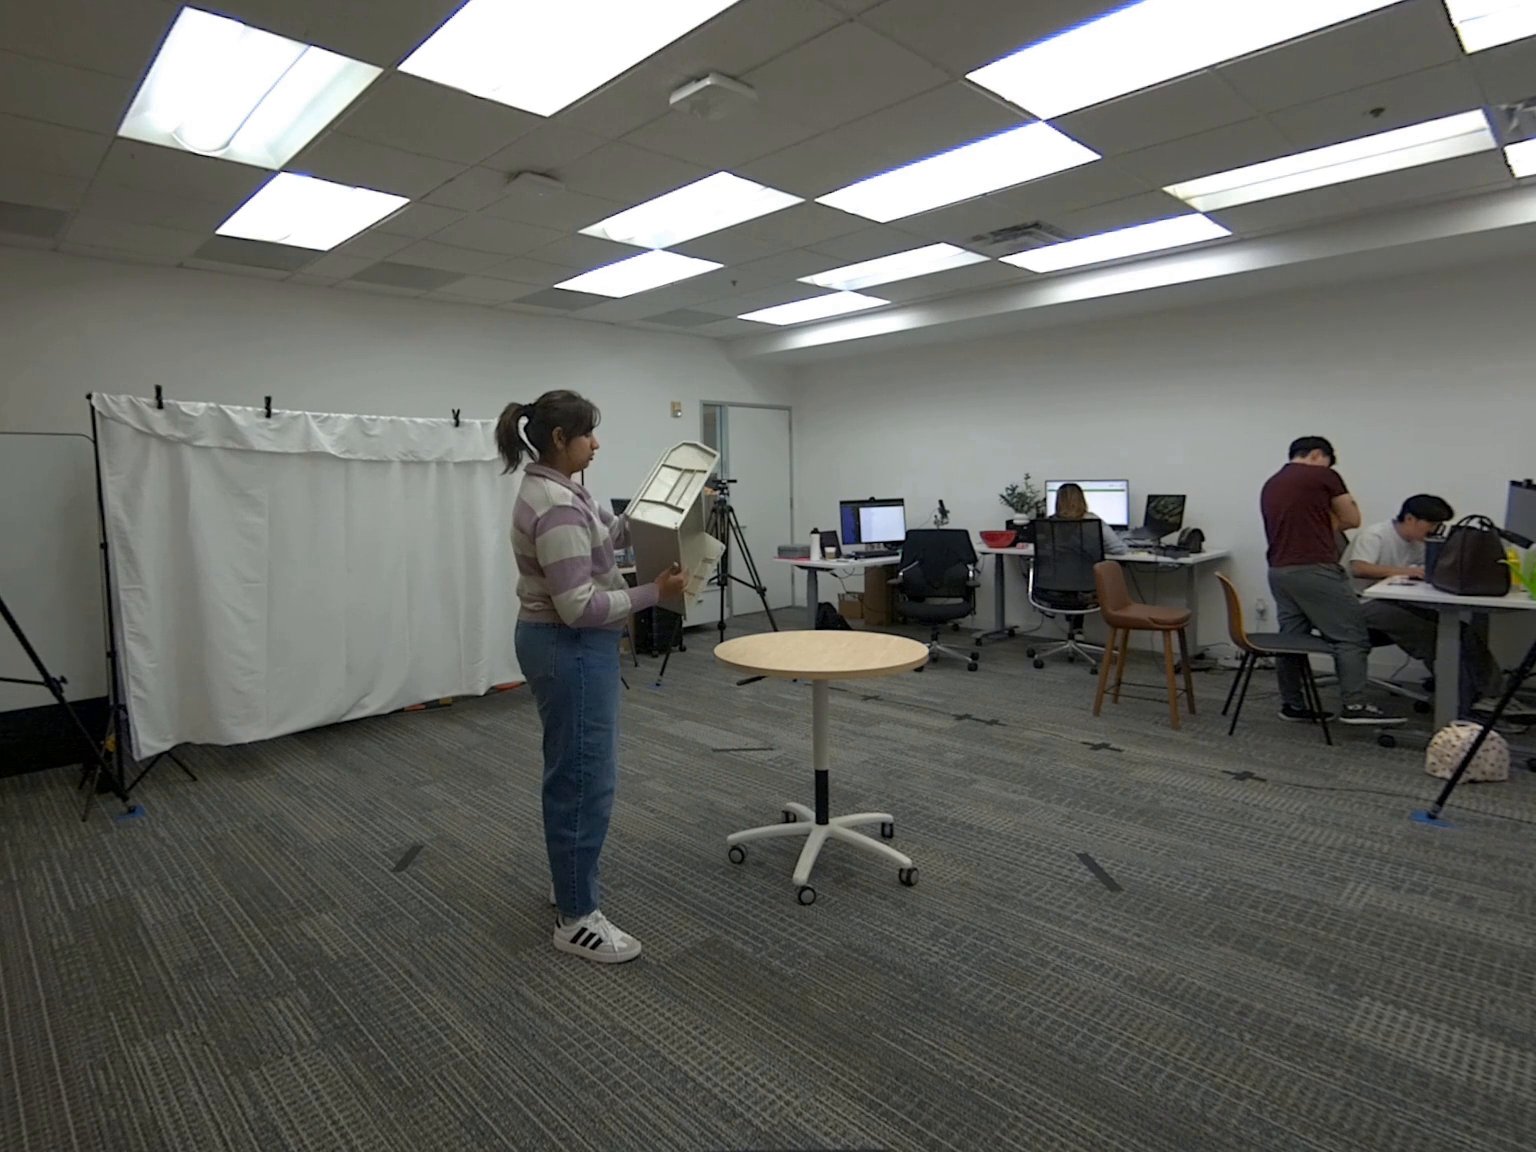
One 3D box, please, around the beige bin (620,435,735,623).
[{"bbox_3d":[-0.274,-0.151,2.723,0.192,0.411,0.381,16,50,15],"label":"beige bin"}]
